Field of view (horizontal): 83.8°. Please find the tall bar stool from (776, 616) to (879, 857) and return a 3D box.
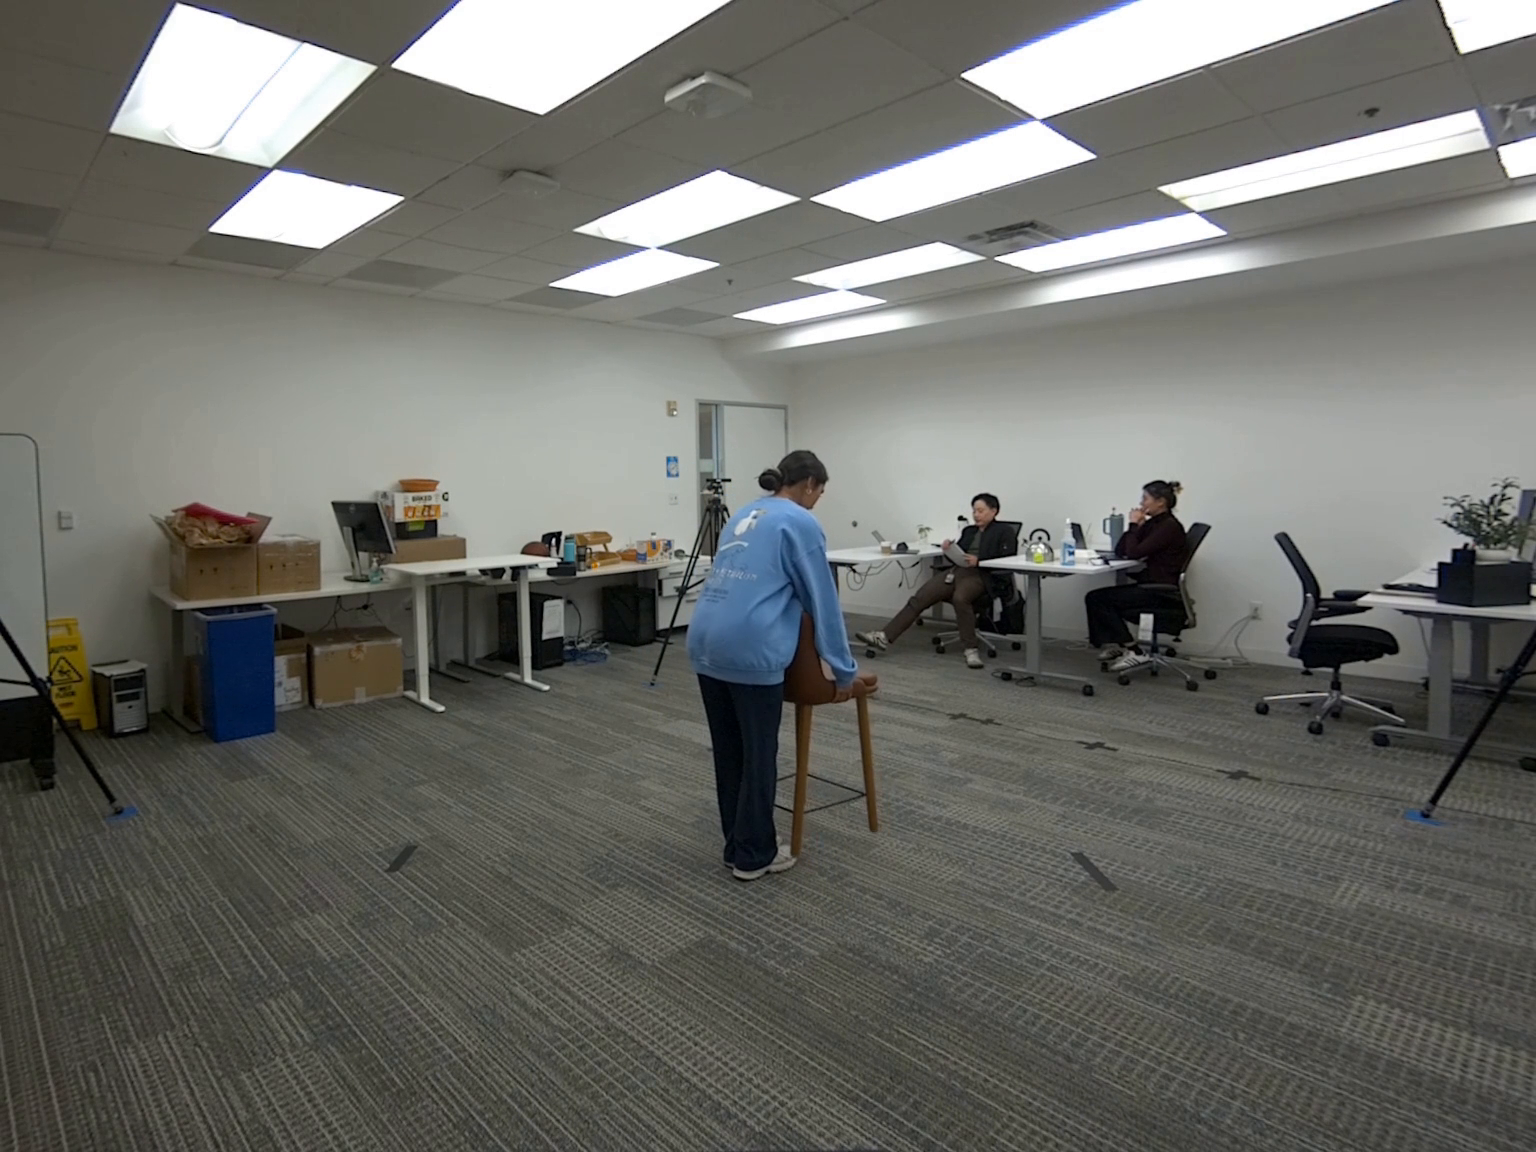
[{"bbox_3d":[0.137,0.539,3.266,0.455,0.887,0.470,-3,4,-44],"label":"tall bar stool"}]
